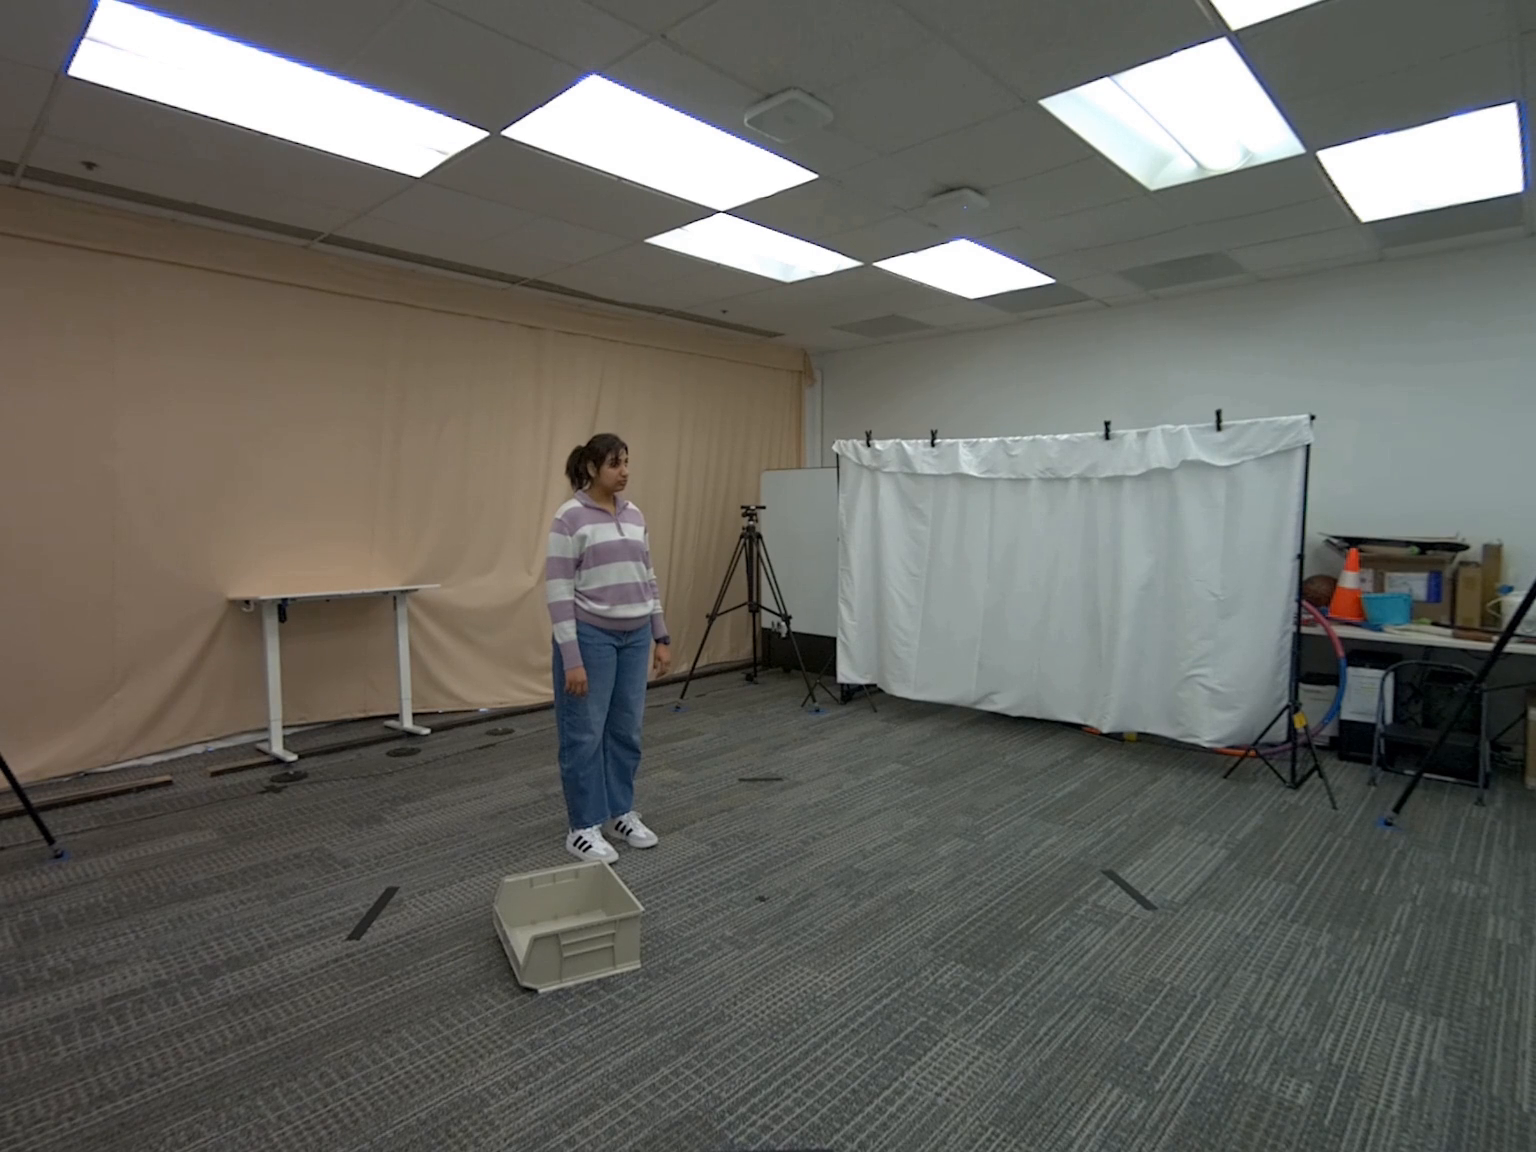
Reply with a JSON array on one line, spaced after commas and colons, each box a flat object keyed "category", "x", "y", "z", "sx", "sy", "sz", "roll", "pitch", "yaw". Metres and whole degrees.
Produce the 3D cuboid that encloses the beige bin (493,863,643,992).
[{"category": "beige bin", "x": -0.635, "y": 1.088, "z": 2.643, "sx": 0.368, "sy": 0.188, "sz": 0.434, "roll": -1, "pitch": 4, "yaw": -28}]
